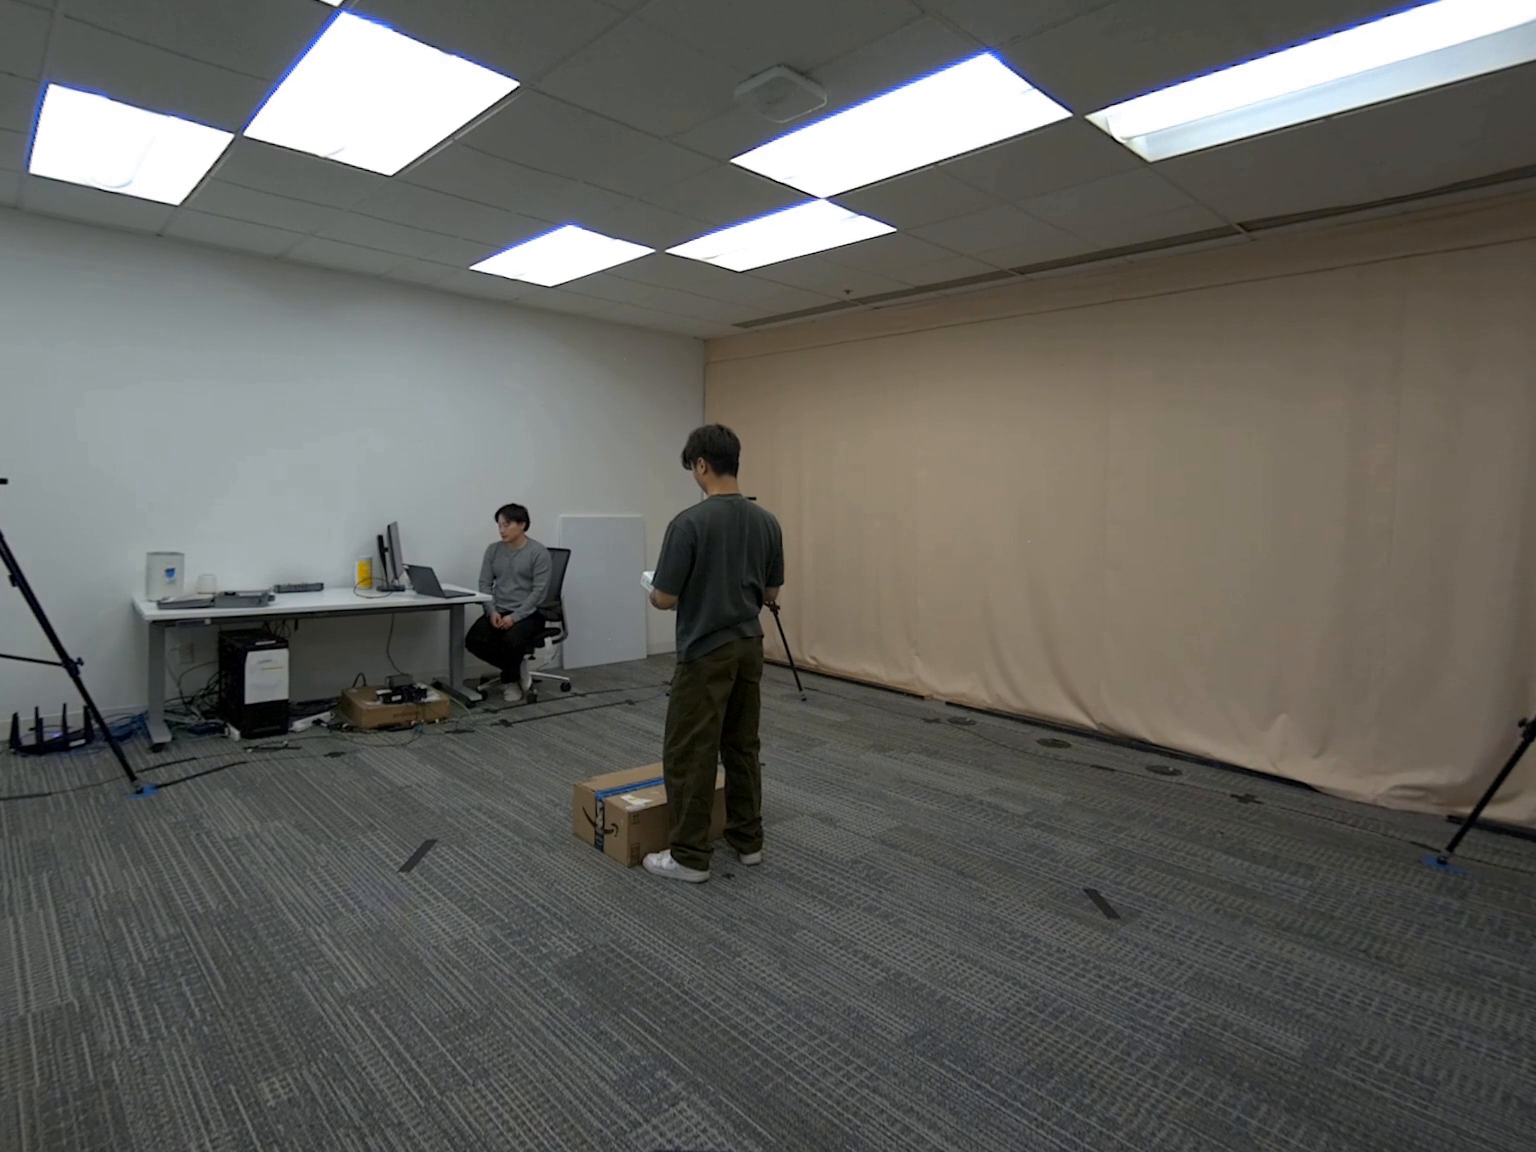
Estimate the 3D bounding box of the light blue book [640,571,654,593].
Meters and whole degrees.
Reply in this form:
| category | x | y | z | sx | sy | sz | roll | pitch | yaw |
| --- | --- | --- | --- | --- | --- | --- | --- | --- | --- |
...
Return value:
| category | x | y | z | sx | sy | sz | roll | pitch | yaw |
| --- | --- | --- | --- | --- | --- | --- | --- | --- | --- |
| light blue book | -0.367 | 0.054 | 3.396 | 0.187 | 0.058 | 0.269 | -1 | 22 | -34 |
